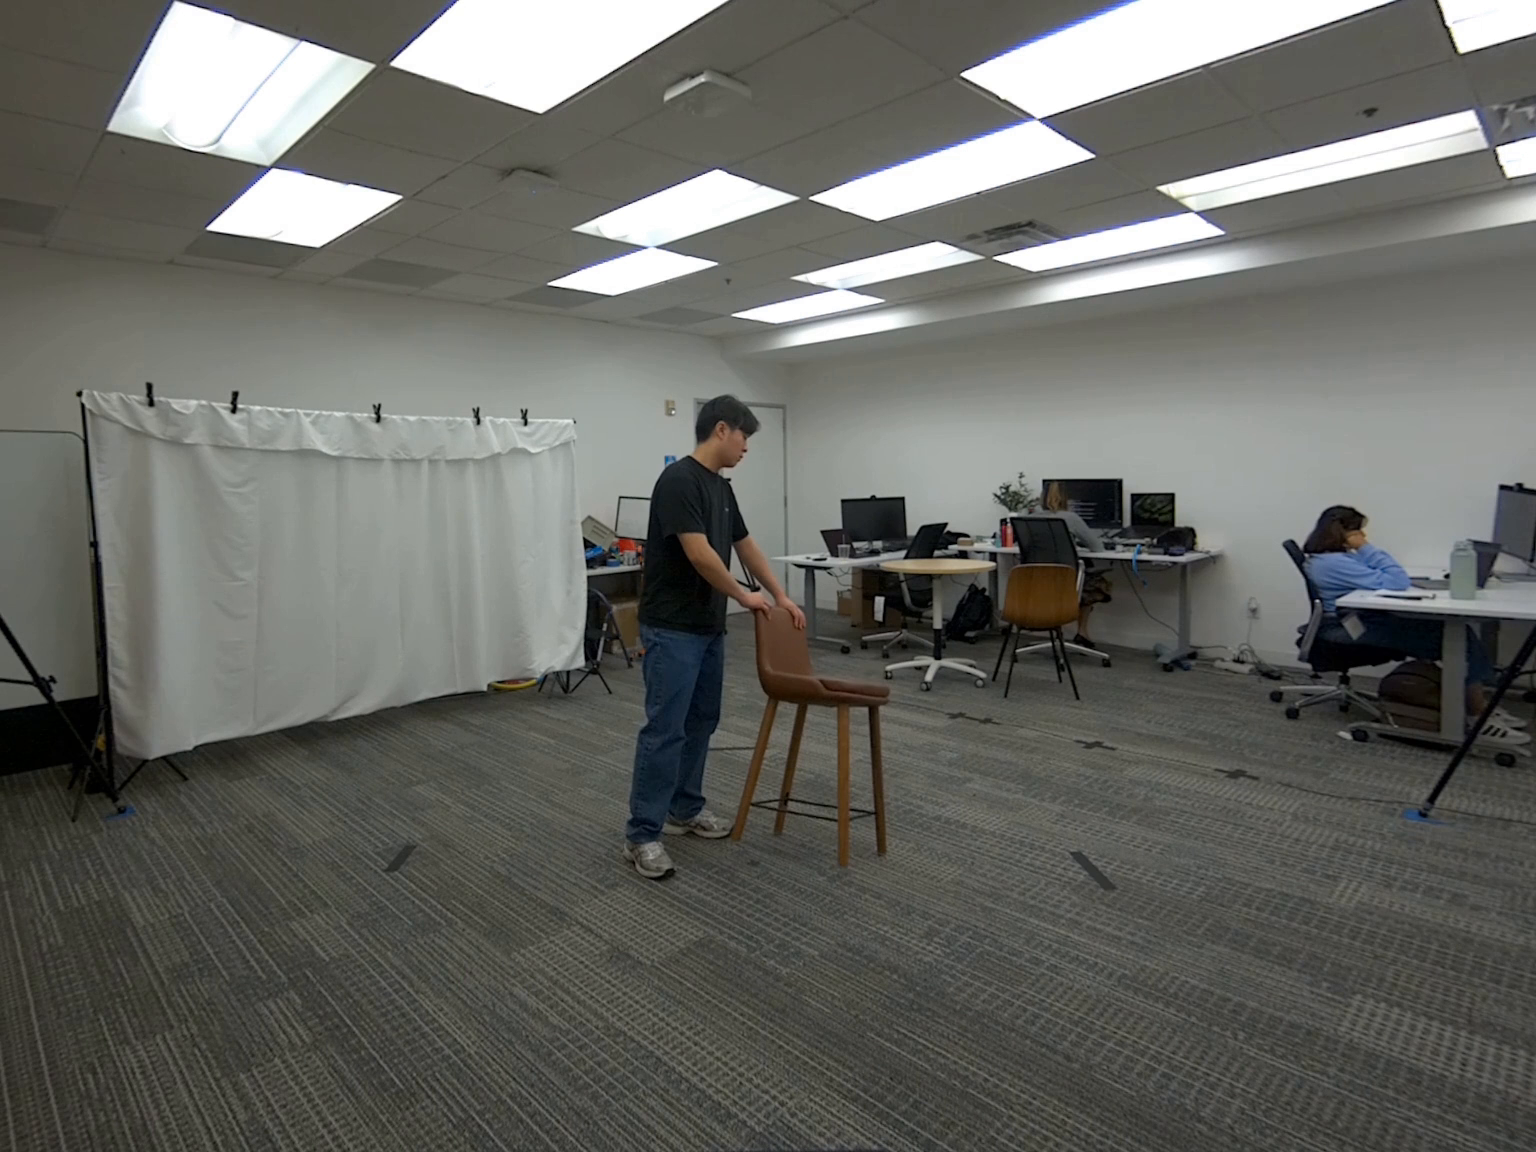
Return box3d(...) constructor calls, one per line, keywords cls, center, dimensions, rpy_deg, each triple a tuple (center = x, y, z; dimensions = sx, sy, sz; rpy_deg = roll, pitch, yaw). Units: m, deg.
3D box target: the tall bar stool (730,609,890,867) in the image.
box3d(cls="tall bar stool", center=(0.182, 0.557, 3.182), dimensions=(0.479, 0.898, 0.441), rpy_deg=(-2, -12, 30))
